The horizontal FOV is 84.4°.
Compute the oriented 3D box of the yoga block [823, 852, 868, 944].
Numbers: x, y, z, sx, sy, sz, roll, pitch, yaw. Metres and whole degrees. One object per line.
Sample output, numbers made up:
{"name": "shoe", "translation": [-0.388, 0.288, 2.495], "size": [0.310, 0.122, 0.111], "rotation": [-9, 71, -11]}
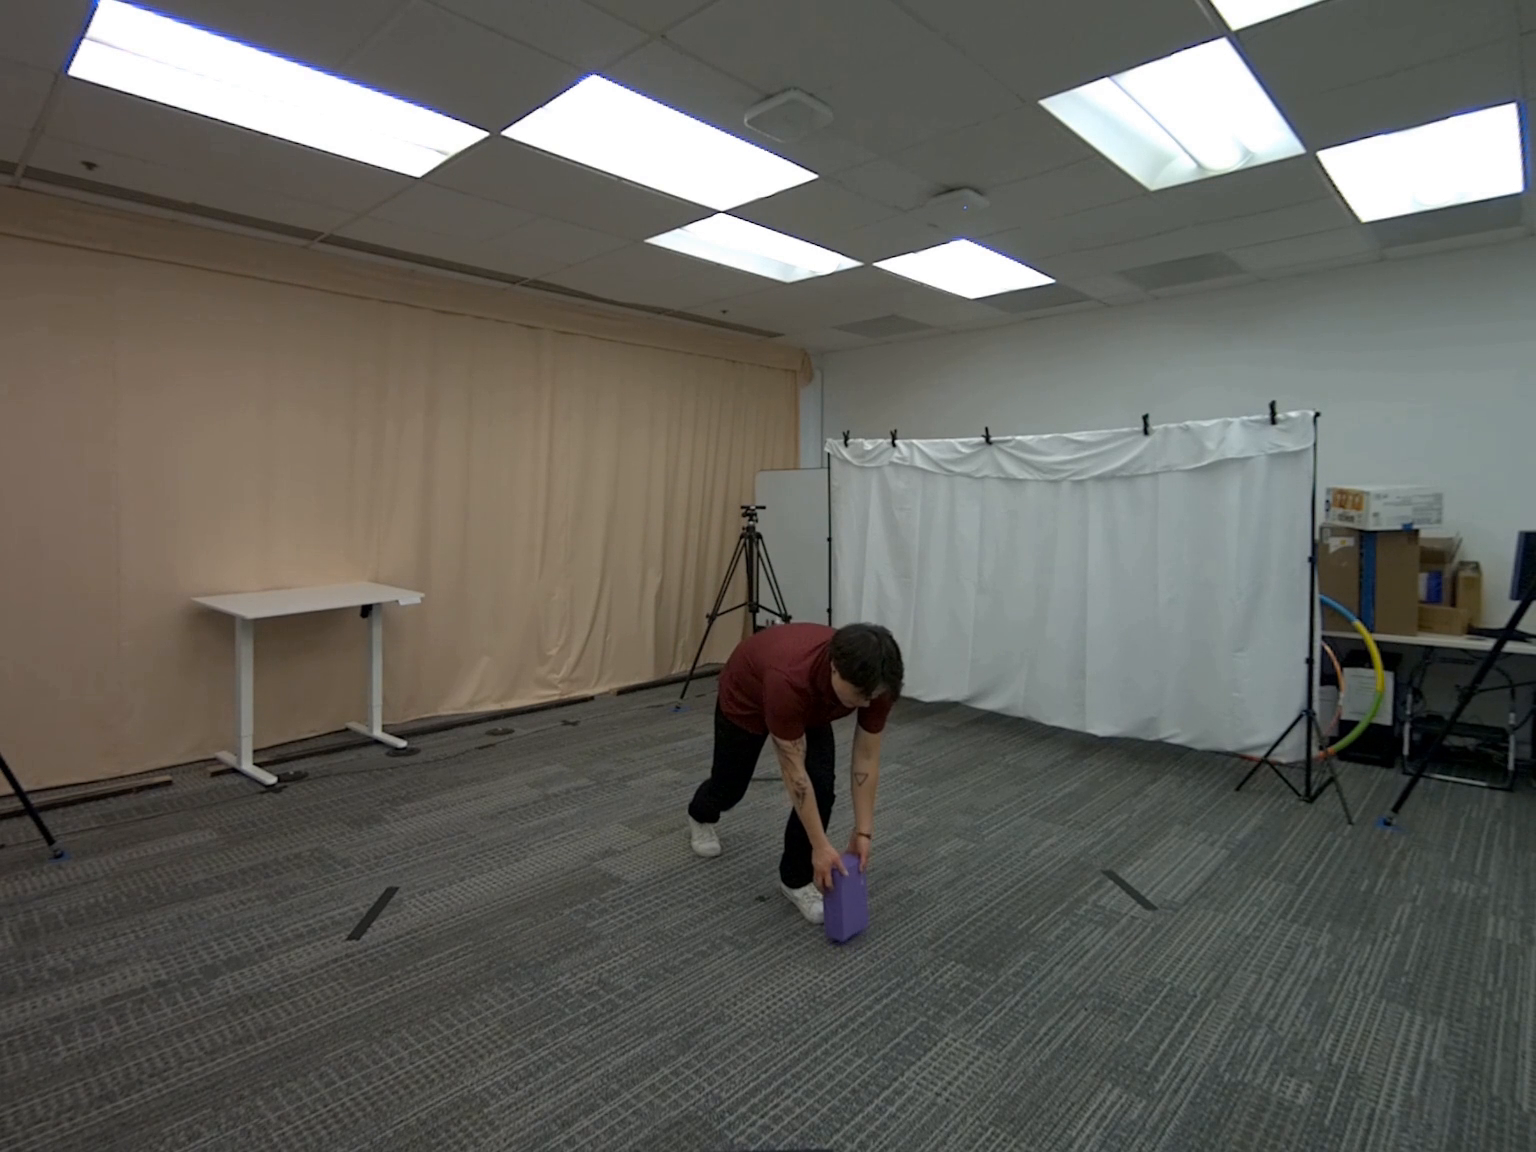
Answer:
{"name": "yoga block", "translation": [0.255, 1.031, 2.696], "size": [0.079, 0.229, 0.144], "rotation": [-2, 2, 41]}
